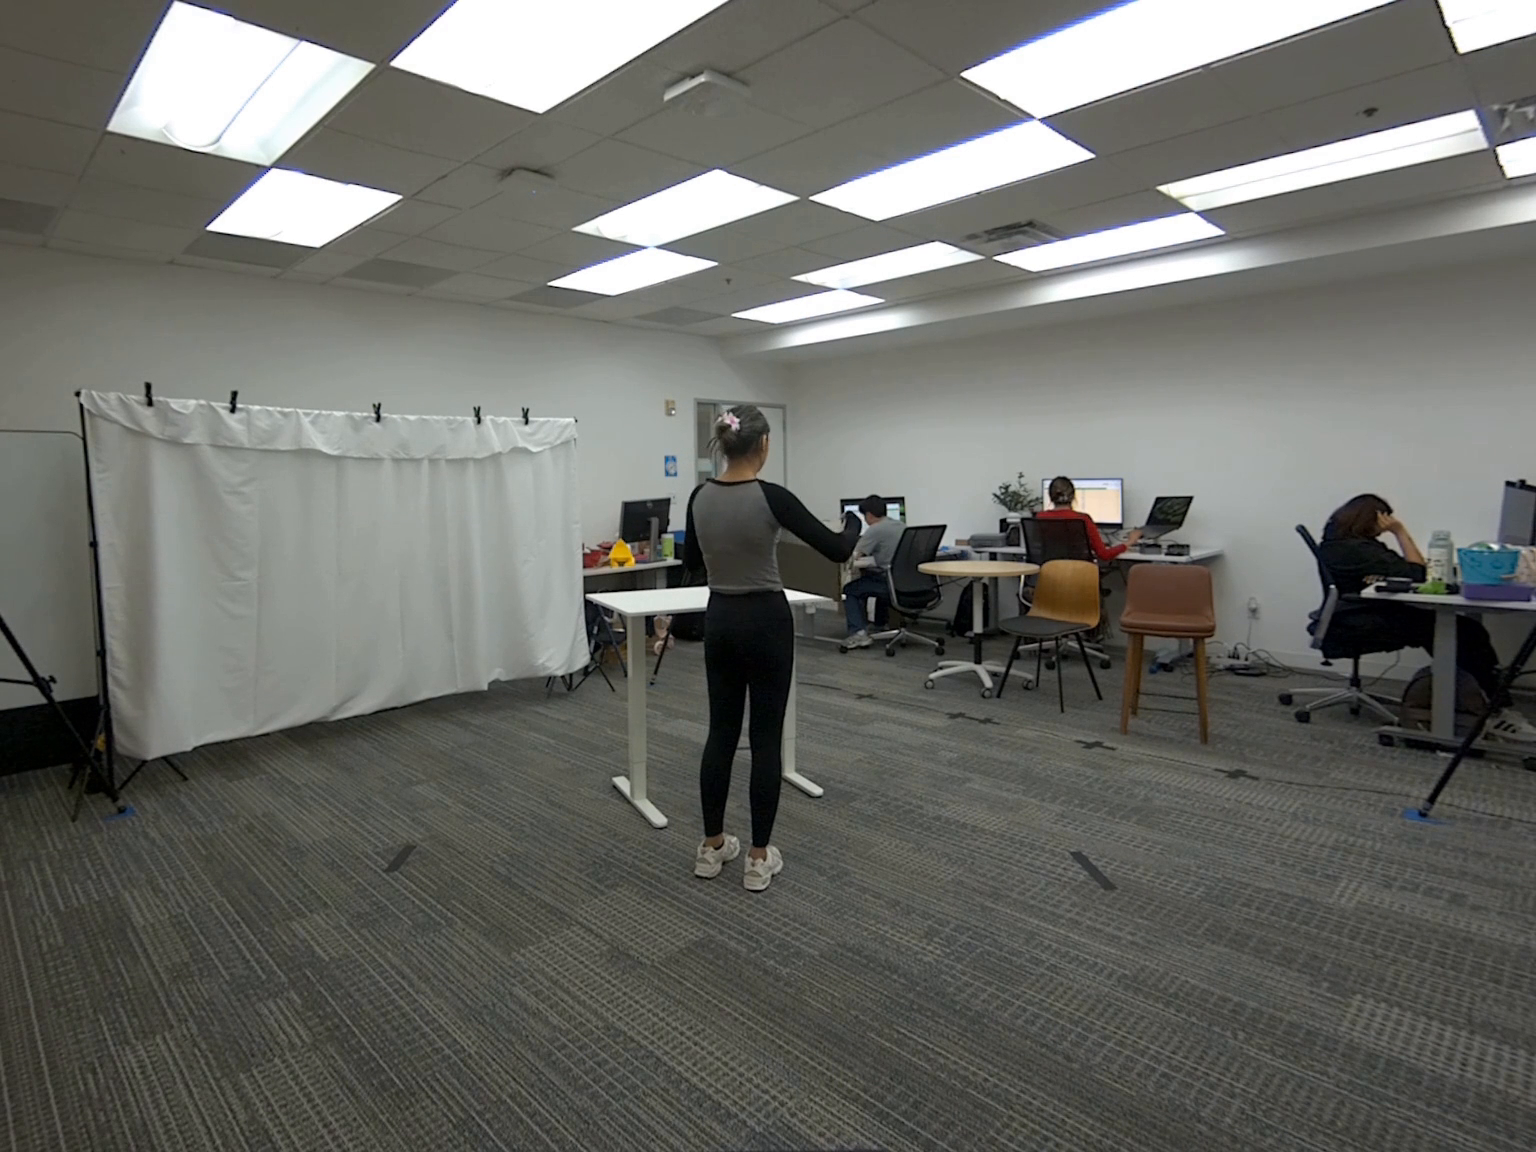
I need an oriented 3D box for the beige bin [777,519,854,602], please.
[{"bbox_3d":[0.094,-0.105,3.199,0.431,0.191,0.365,14,-36,18],"label":"beige bin"}]
